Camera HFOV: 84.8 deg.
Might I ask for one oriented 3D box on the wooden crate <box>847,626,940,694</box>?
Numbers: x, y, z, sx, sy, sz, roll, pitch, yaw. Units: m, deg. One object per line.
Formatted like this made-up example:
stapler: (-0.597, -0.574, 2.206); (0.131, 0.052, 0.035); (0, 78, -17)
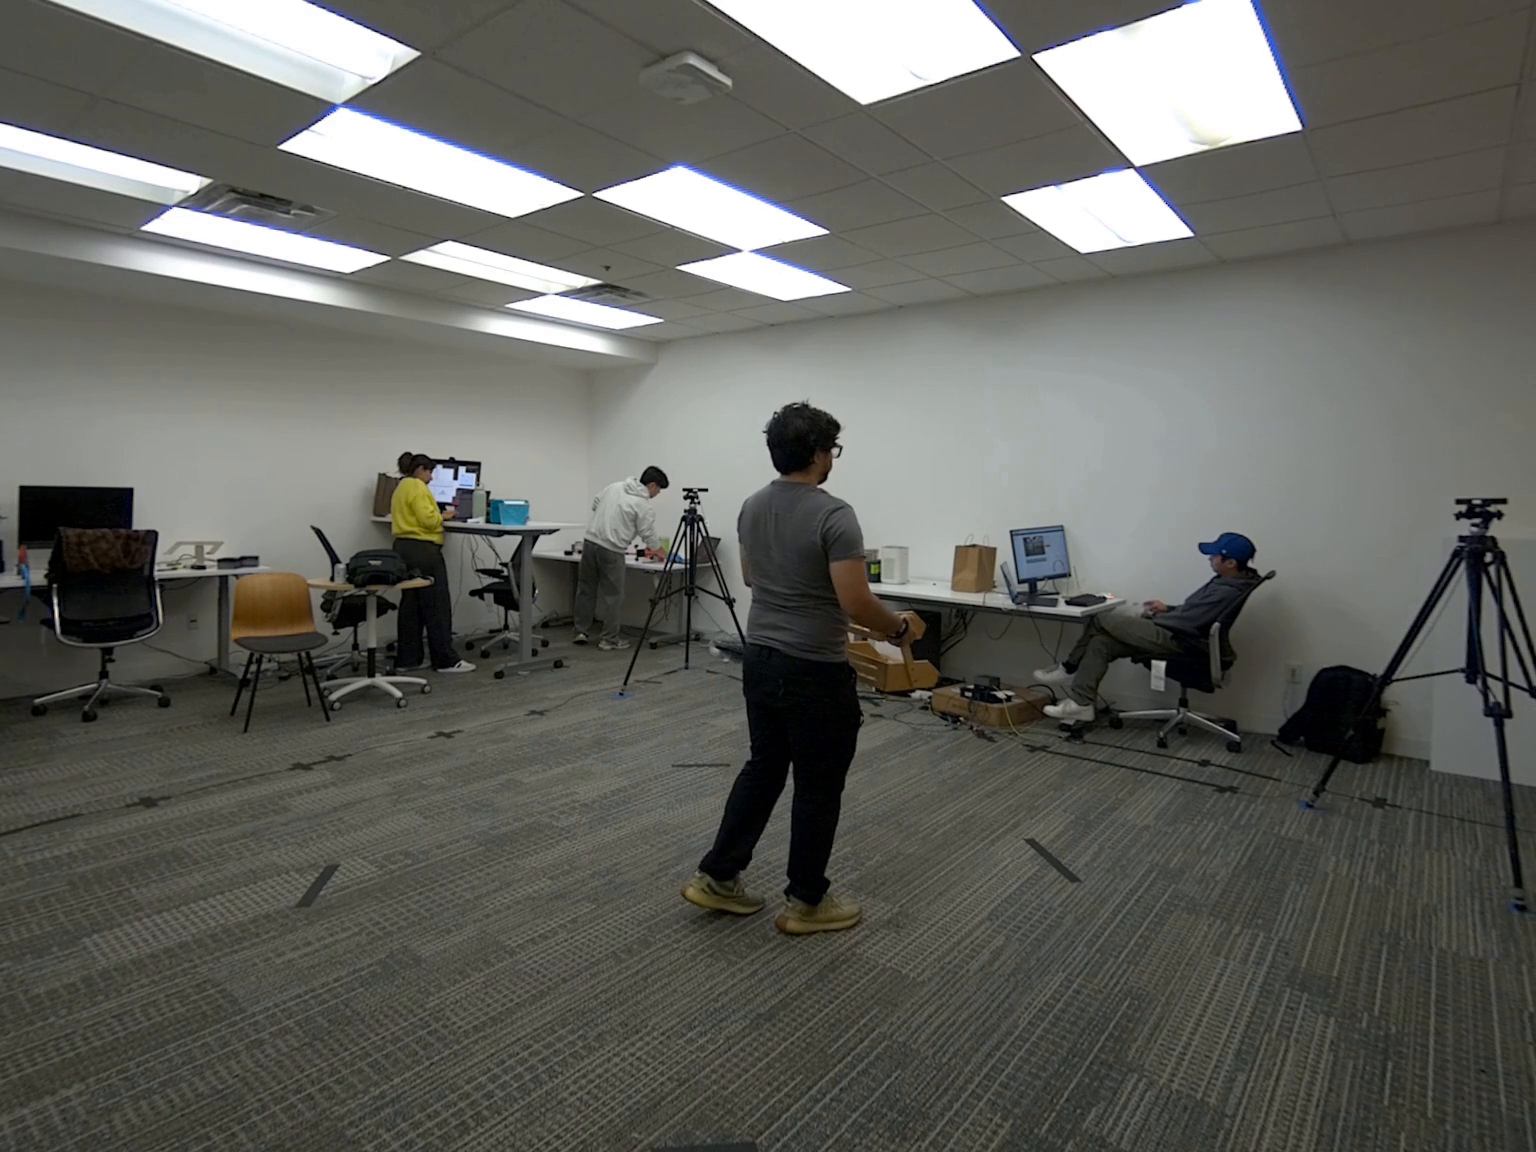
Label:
wooden crate: (0.379, 0.219, 2.922); (0.293, 0.272, 0.336); (1, 8, -35)
